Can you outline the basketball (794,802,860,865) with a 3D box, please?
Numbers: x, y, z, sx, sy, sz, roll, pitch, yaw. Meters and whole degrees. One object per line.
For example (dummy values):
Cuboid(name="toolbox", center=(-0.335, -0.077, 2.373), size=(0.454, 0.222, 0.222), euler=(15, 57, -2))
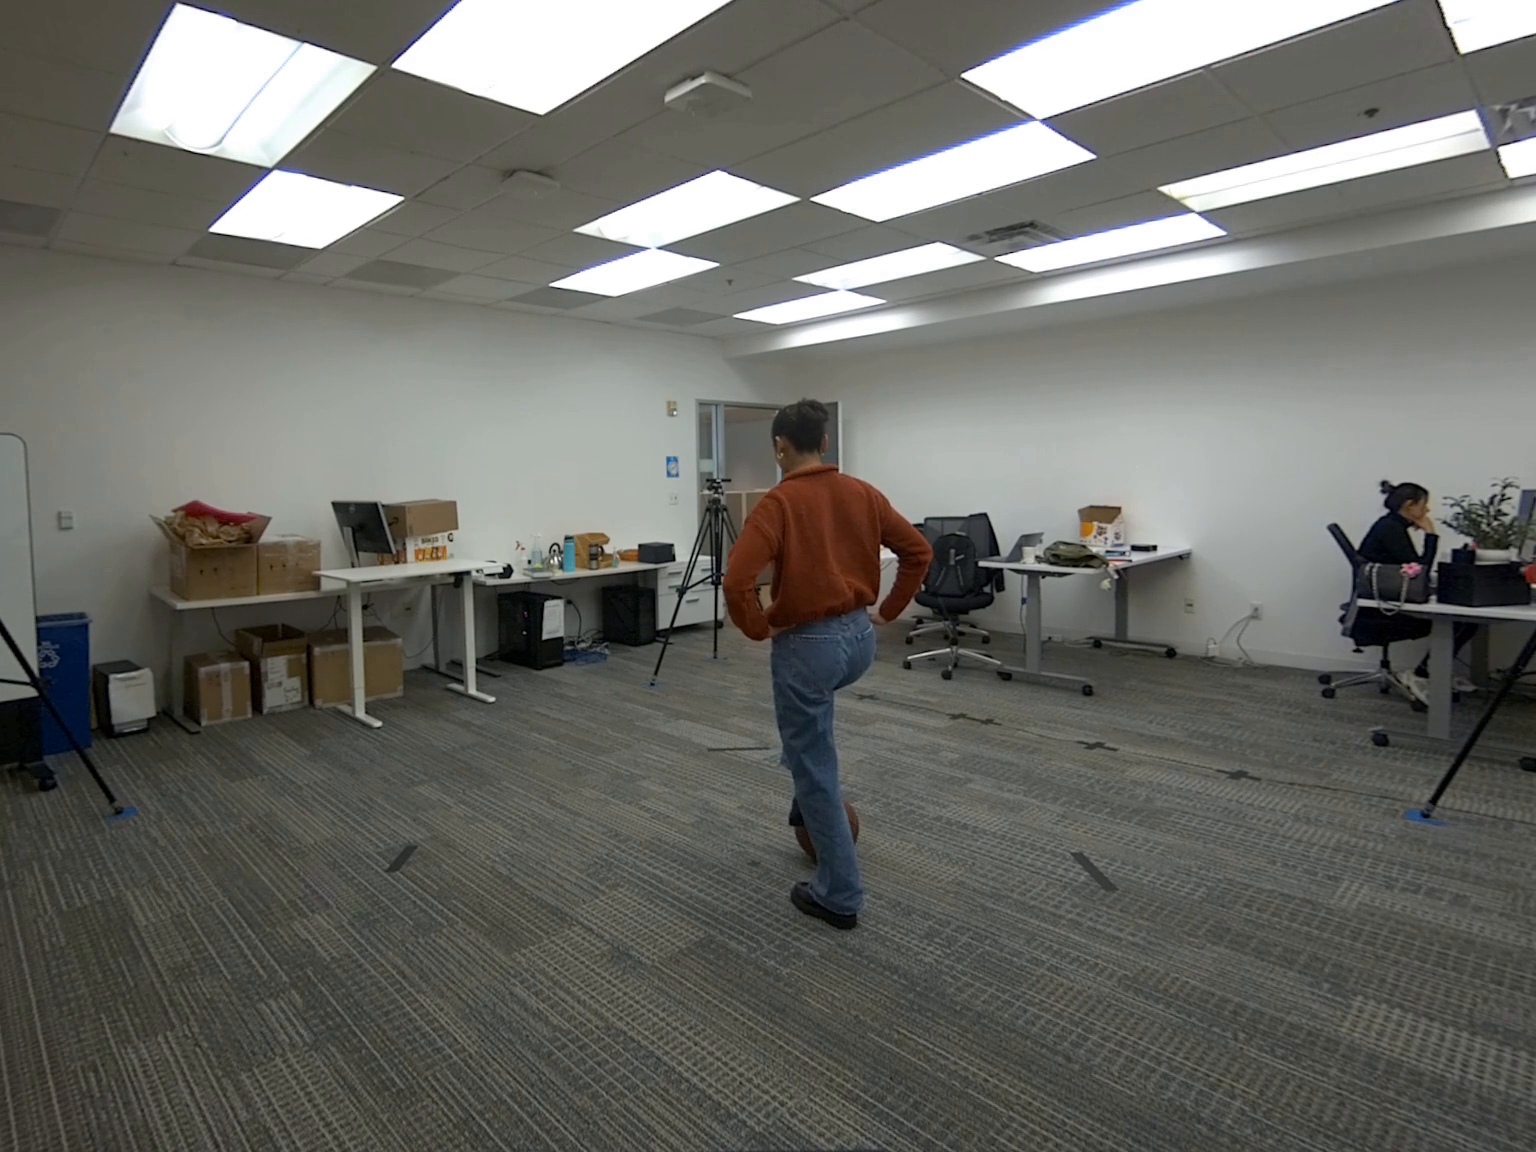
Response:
Cuboid(name="basketball", center=(0.219, 0.921, 3.135), size=(0.236, 0.235, 0.237), euler=(-1, 5, -2))
